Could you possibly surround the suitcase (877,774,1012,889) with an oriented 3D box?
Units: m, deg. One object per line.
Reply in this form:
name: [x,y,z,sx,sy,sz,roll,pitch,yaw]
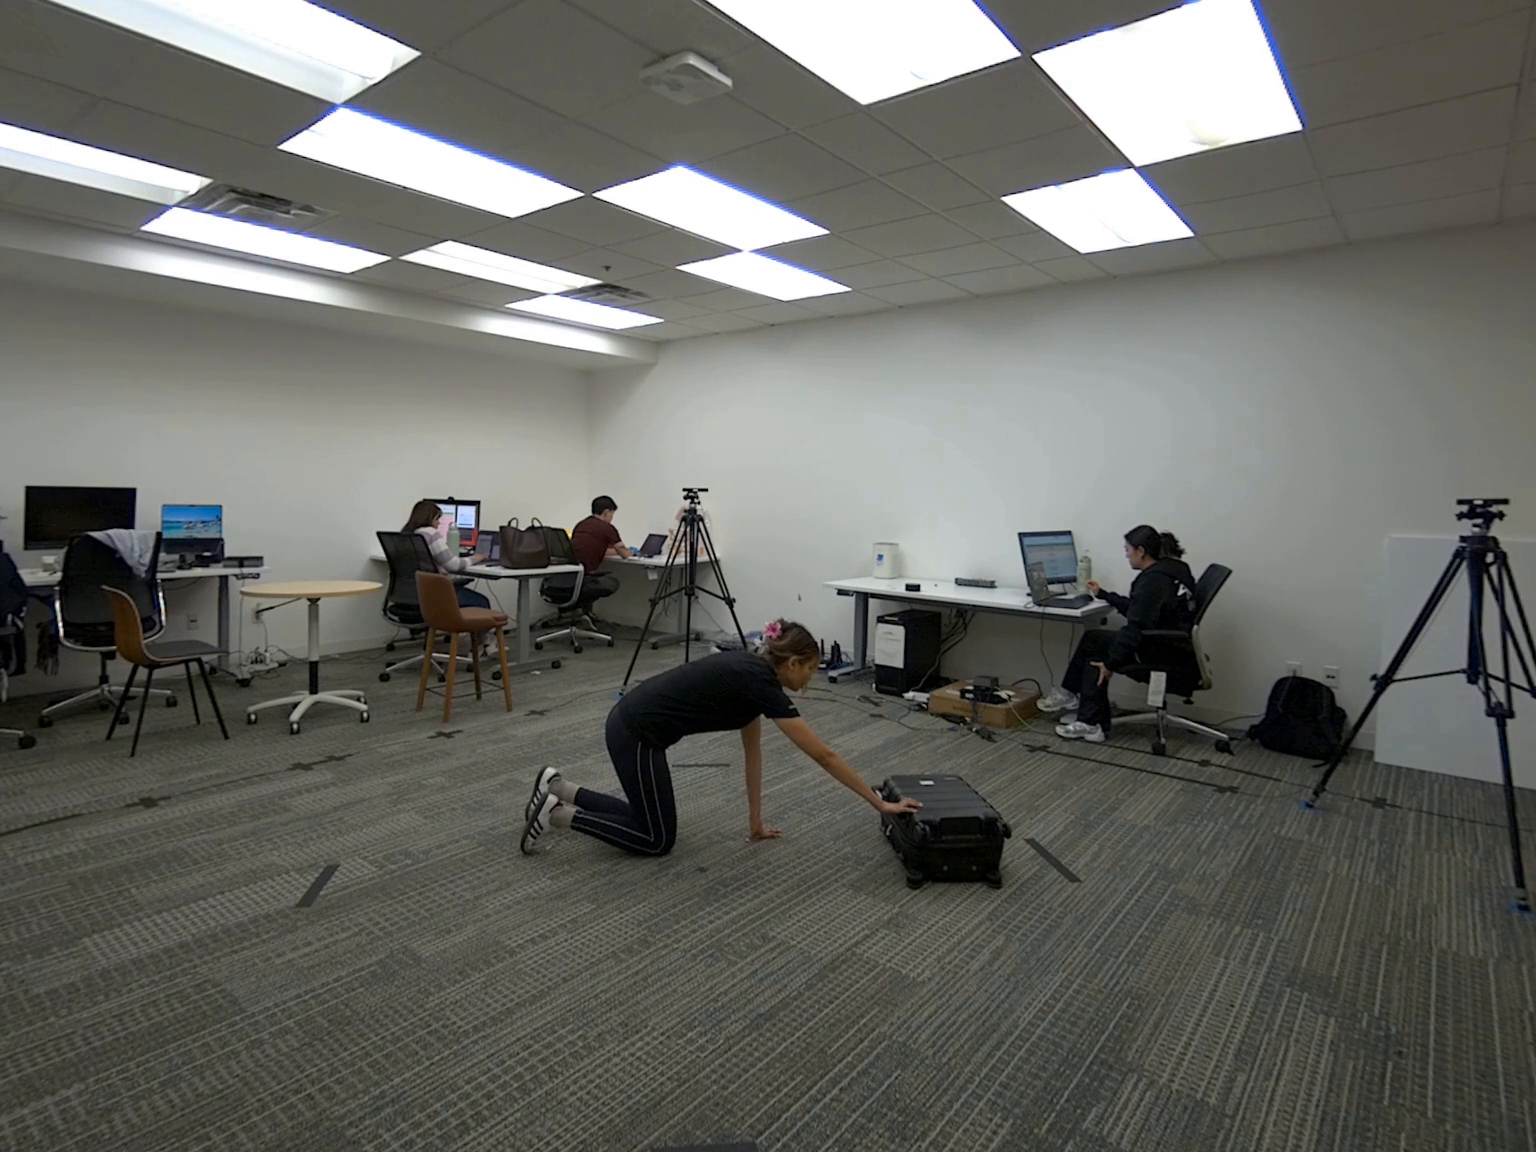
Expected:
suitcase: [0.622,0.930,3.471,0.382,0.255,0.990,-1,7,-7]
